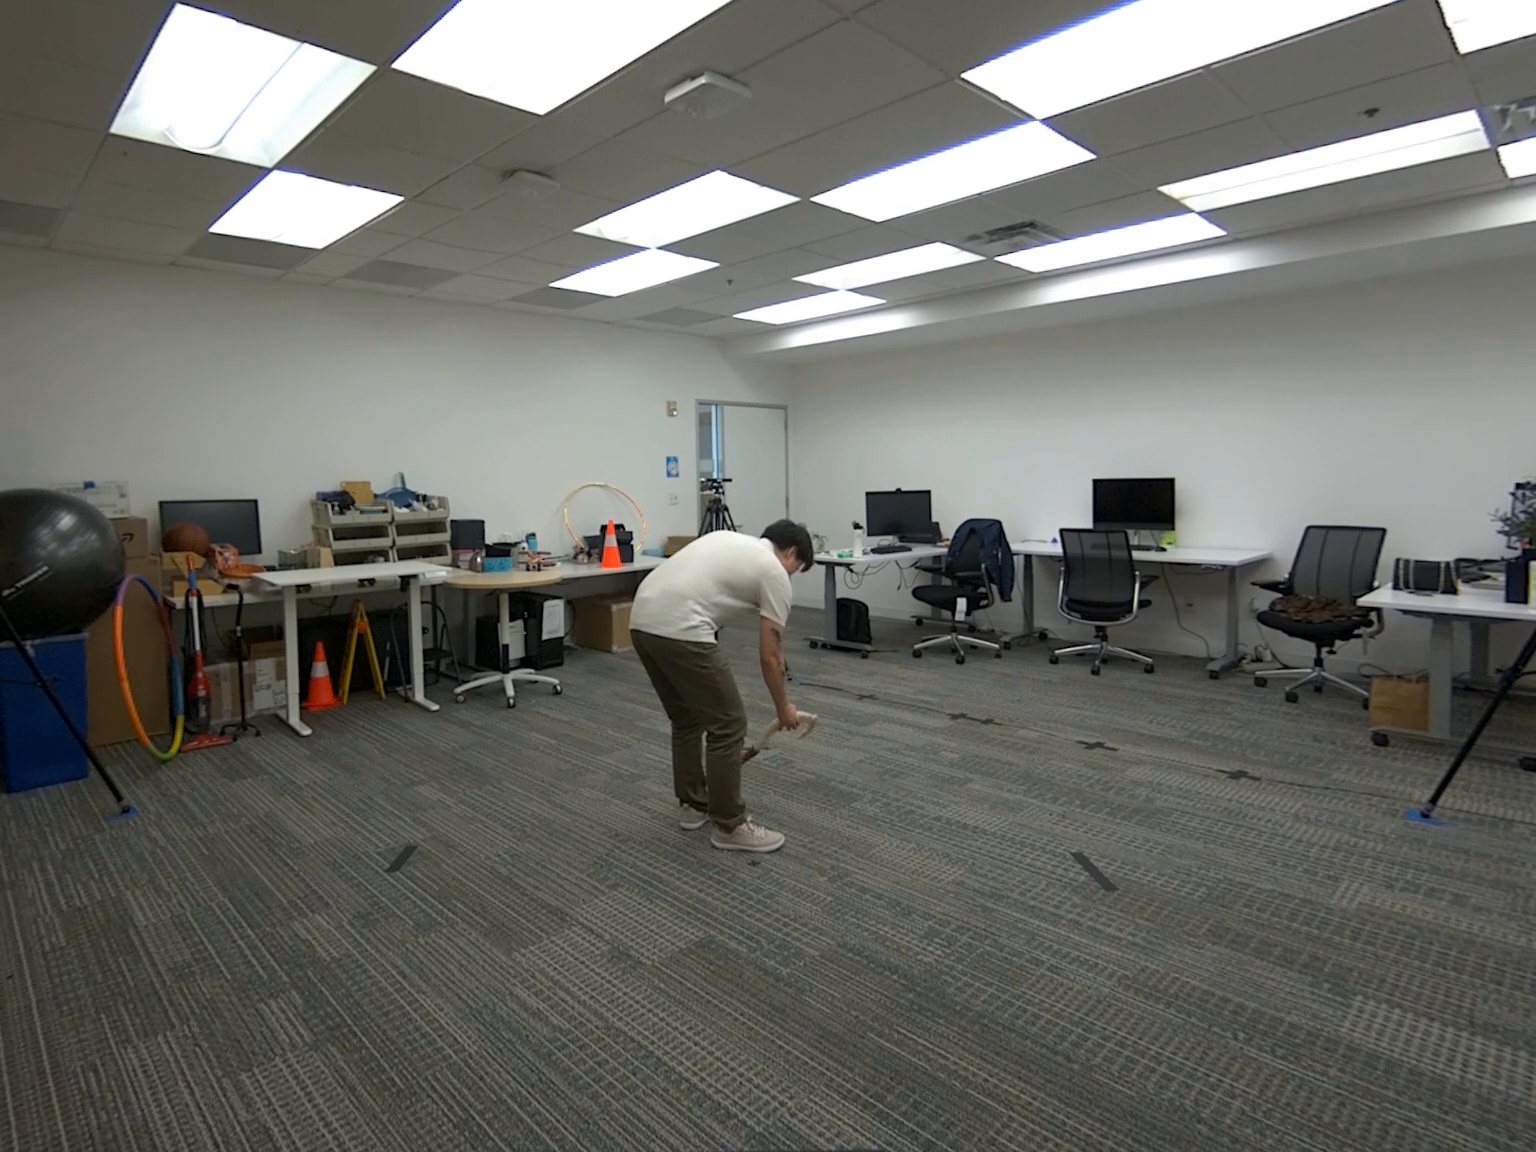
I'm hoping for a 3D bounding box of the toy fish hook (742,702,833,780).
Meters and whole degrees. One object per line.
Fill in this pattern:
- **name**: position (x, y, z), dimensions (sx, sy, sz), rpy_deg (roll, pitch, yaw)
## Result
- **toy fish hook**: position (0.033, 0.713, 3.679), dimensions (0.218, 0.050, 0.505), rpy_deg (17, -49, -31)
